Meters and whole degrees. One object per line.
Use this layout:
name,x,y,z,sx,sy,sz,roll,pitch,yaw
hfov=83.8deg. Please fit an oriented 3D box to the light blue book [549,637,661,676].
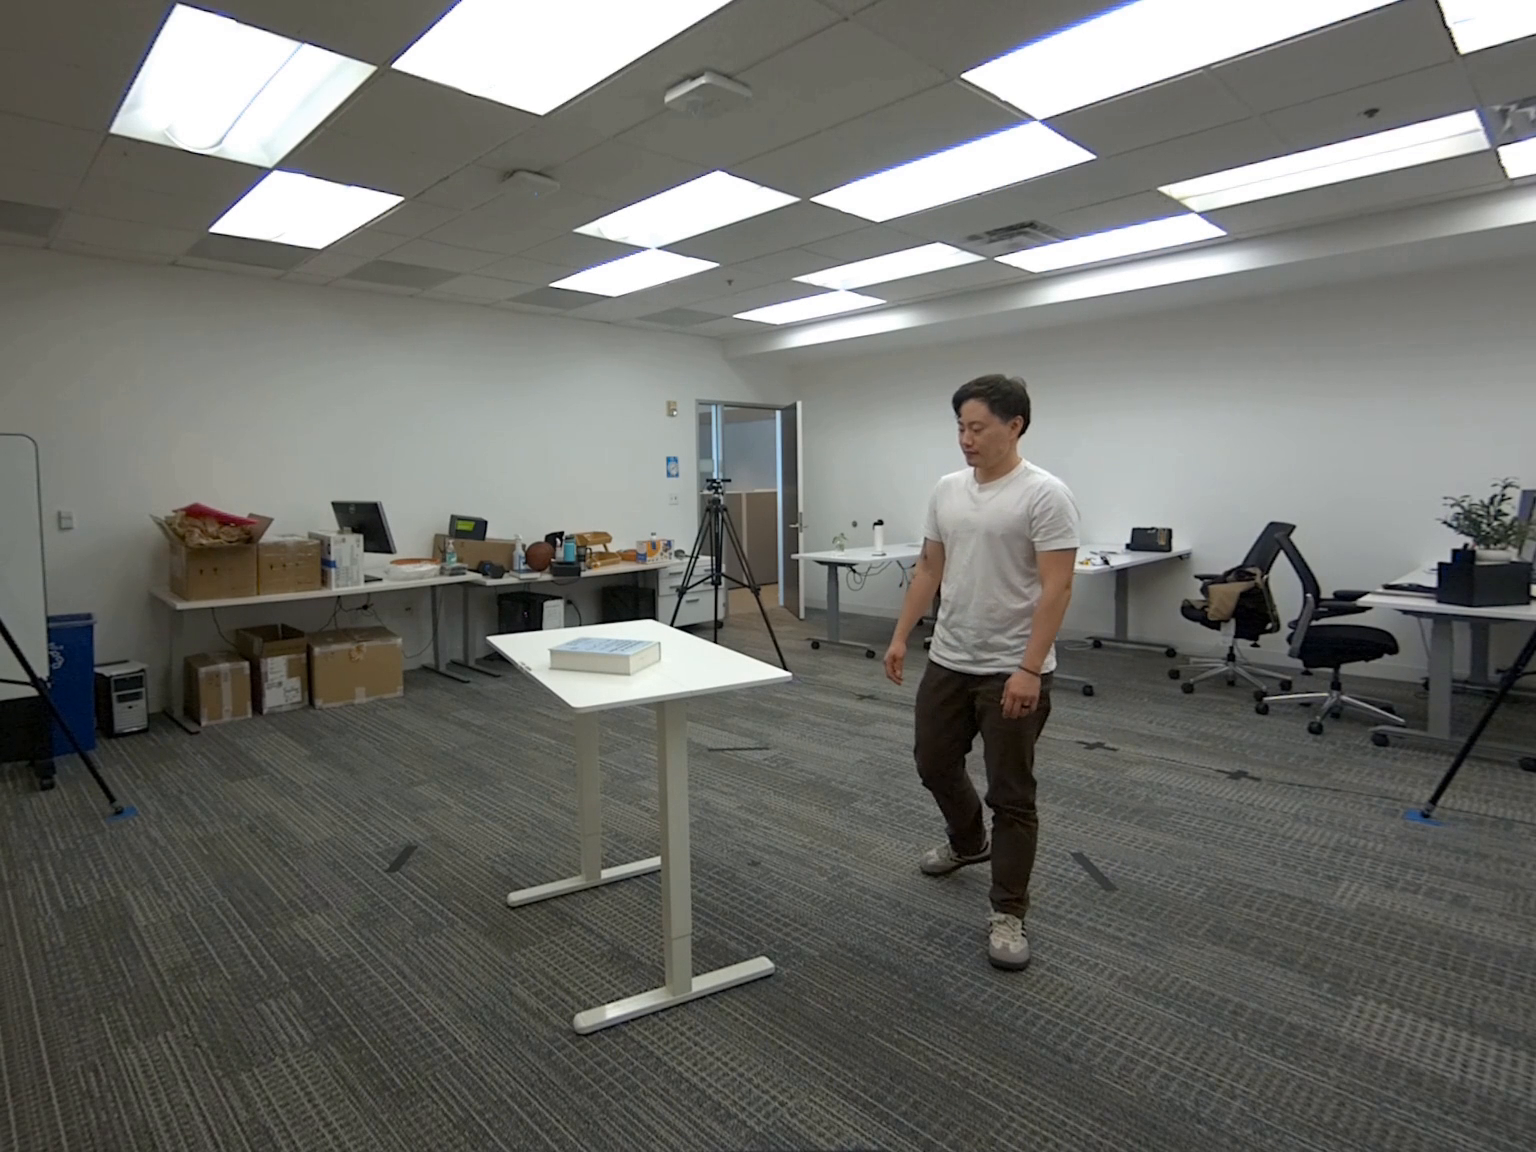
light blue book,-0.450,0.227,2.408,0.266,0.059,0.189,1,7,19
